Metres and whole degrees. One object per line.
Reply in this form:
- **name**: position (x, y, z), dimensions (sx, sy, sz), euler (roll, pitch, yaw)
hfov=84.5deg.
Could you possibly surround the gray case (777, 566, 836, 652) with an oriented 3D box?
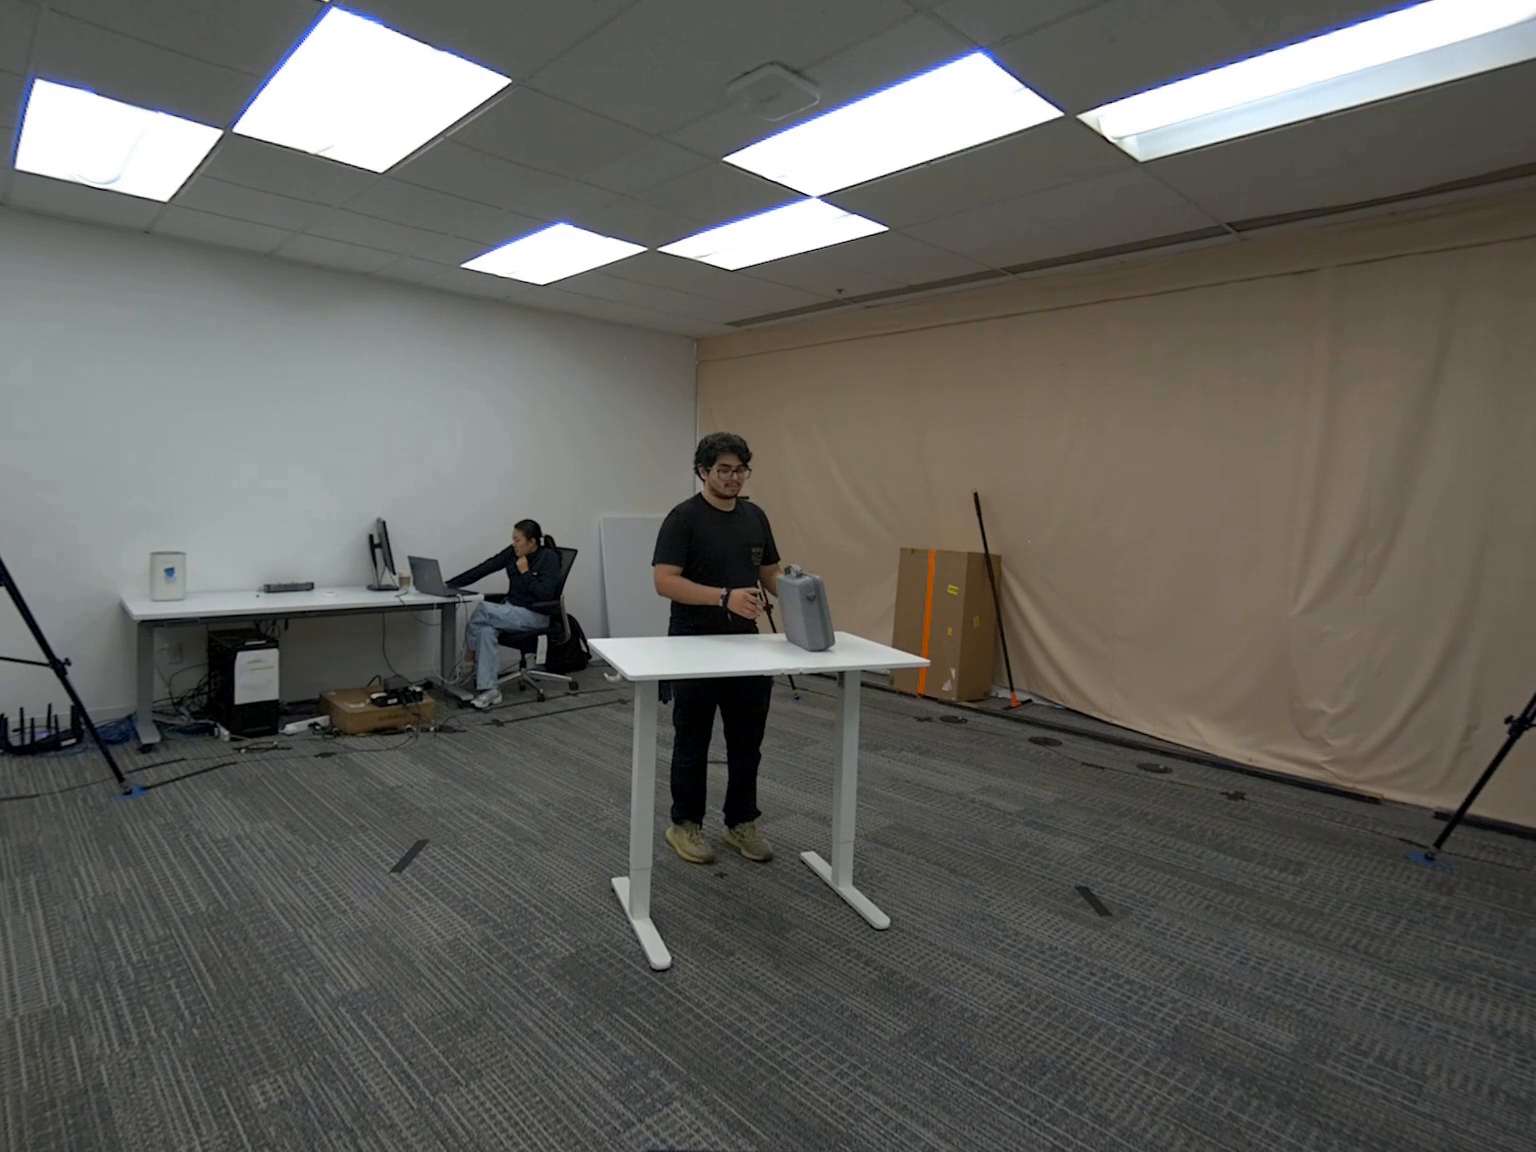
- **gray case**: position (0.118, 0.119, 2.922), dimensions (0.103, 0.259, 0.261), euler (-10, 8, -16)
